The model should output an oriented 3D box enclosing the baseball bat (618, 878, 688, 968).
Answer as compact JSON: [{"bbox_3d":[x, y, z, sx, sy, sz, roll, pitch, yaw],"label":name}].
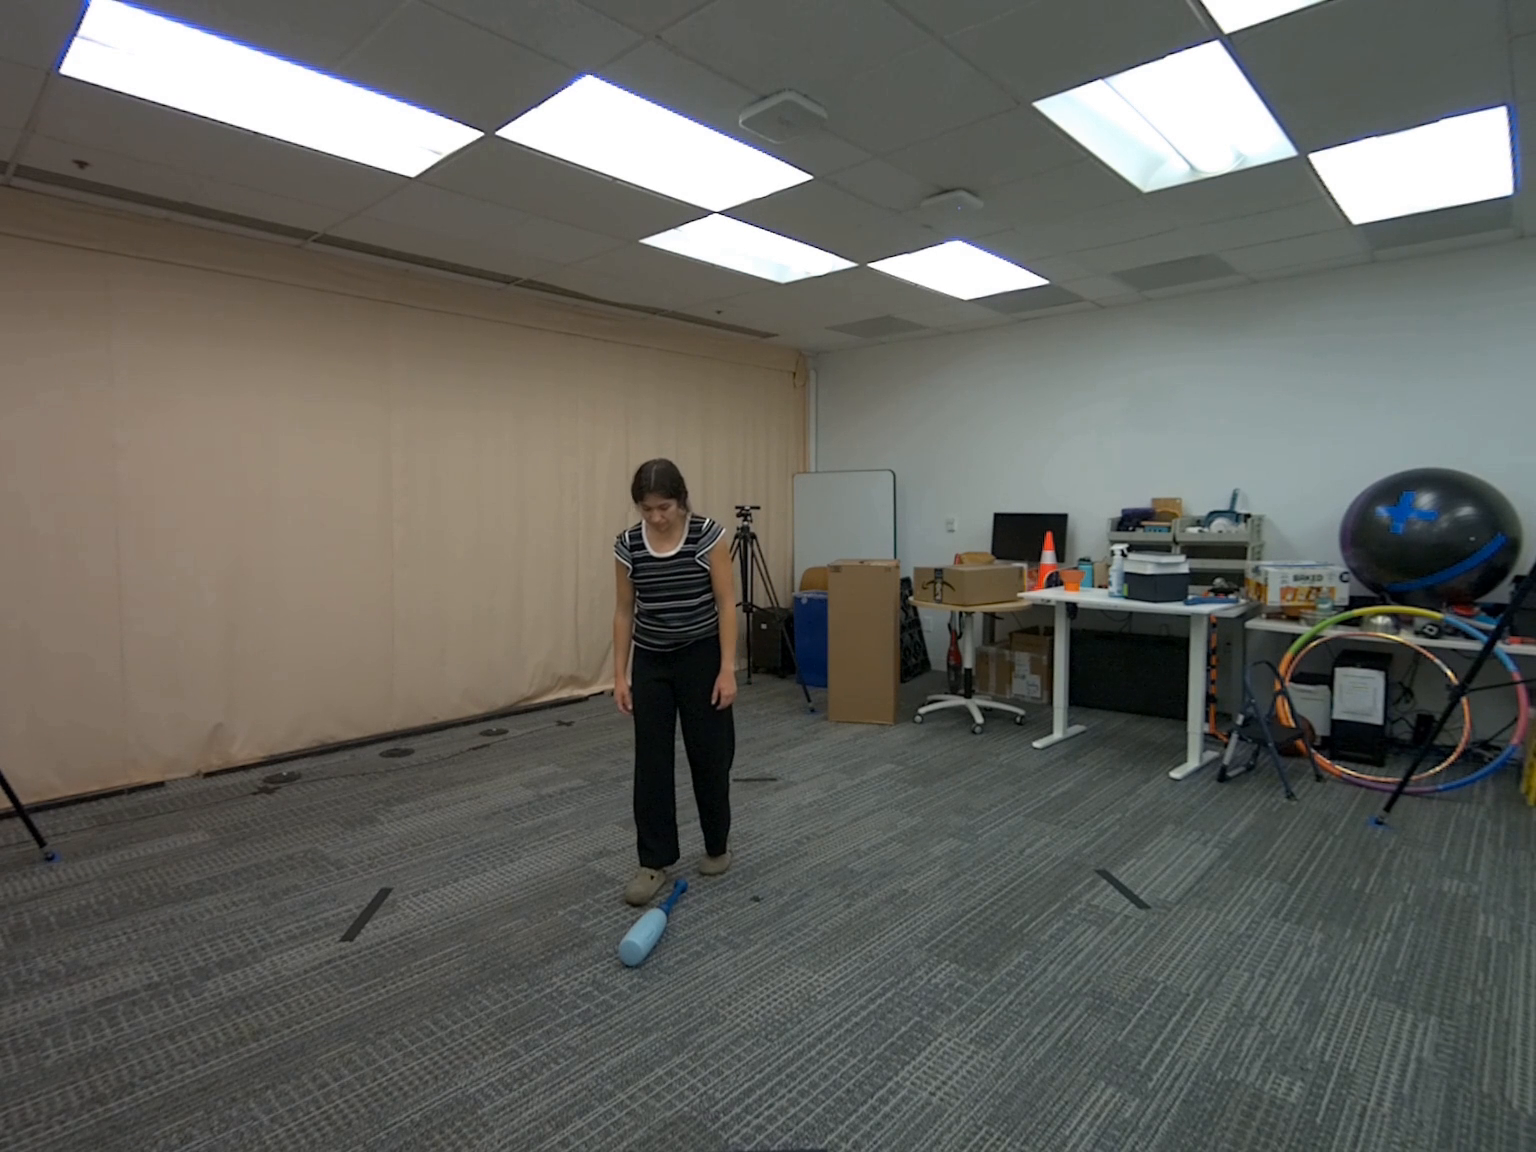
[{"bbox_3d":[-0.359,1.124,2.789,0.090,0.089,0.536,1,2,11],"label":"baseball bat"}]
